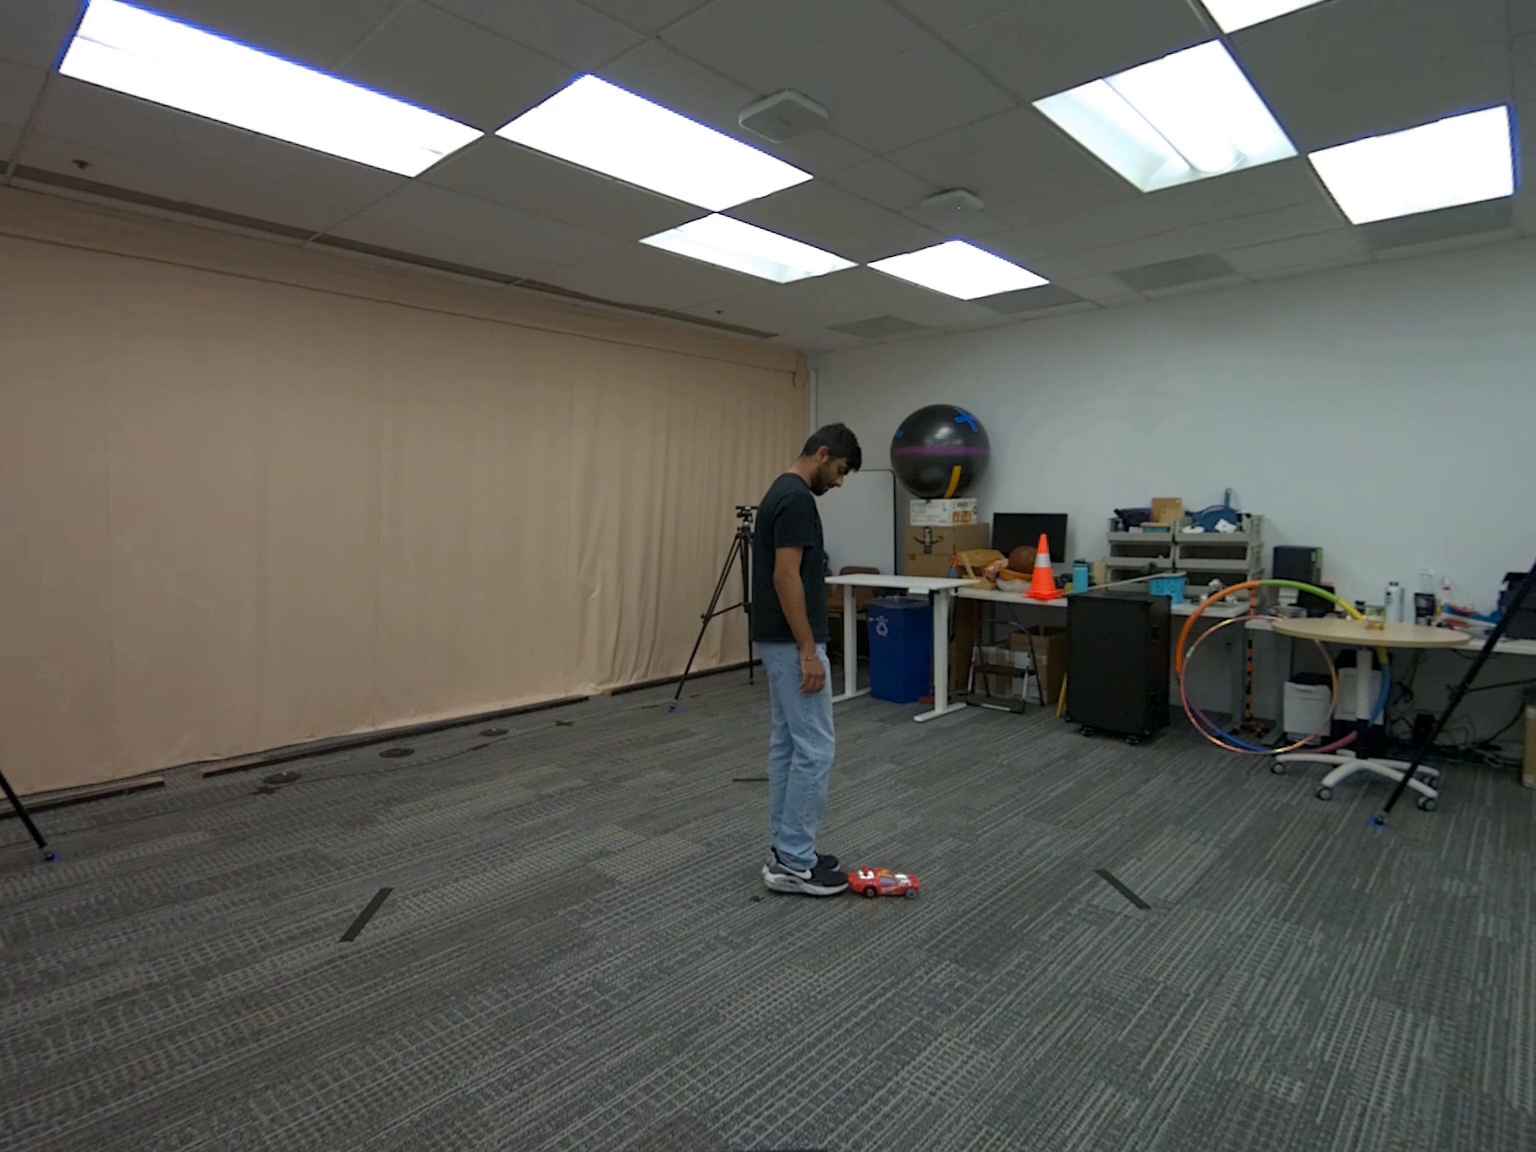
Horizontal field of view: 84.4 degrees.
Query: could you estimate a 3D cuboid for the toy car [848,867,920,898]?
[{"bbox_3d":[0.413,1.106,3.020,0.255,0.083,0.130,12,4,0],"label":"toy car"}]
